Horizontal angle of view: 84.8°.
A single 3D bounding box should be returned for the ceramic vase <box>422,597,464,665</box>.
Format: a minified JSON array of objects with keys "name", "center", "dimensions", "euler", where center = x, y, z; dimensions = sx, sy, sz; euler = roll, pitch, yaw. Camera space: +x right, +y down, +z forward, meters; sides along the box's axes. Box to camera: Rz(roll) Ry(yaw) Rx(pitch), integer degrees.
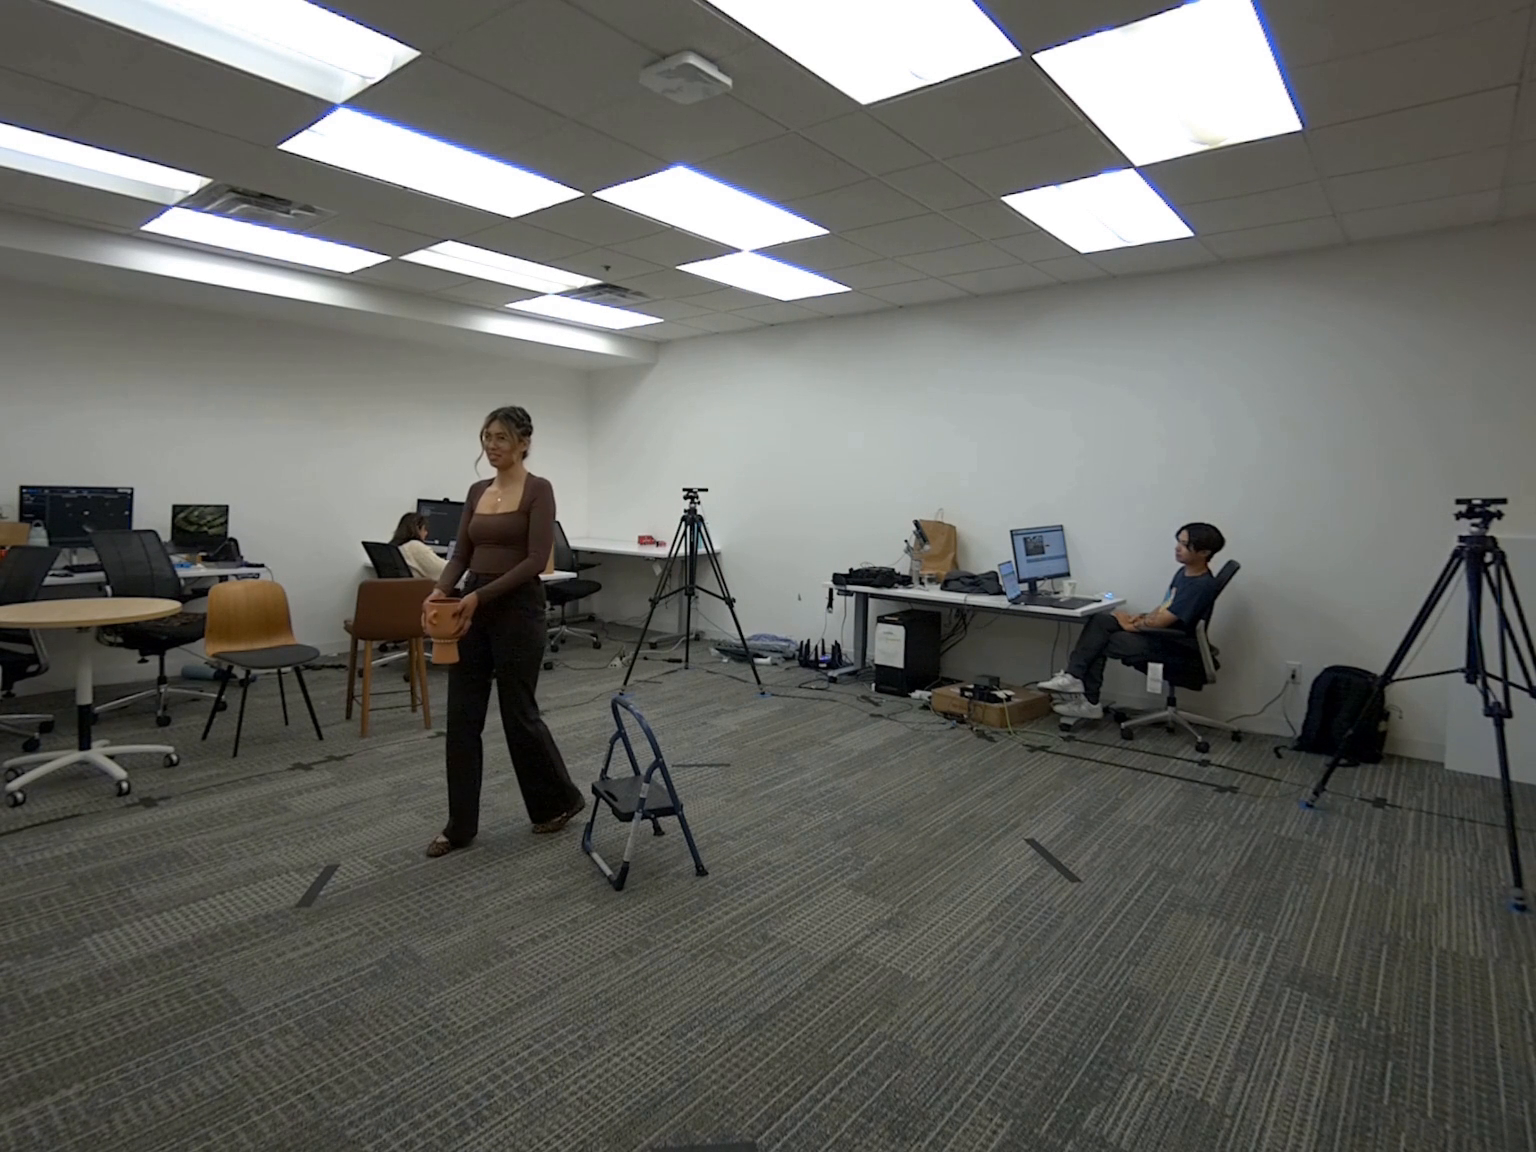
[{"name":"ceramic vase","center":[-1.188,0.197,3.083],"dimensions":[0.154,0.219,0.139],"euler":[-3,7,-38]}]
